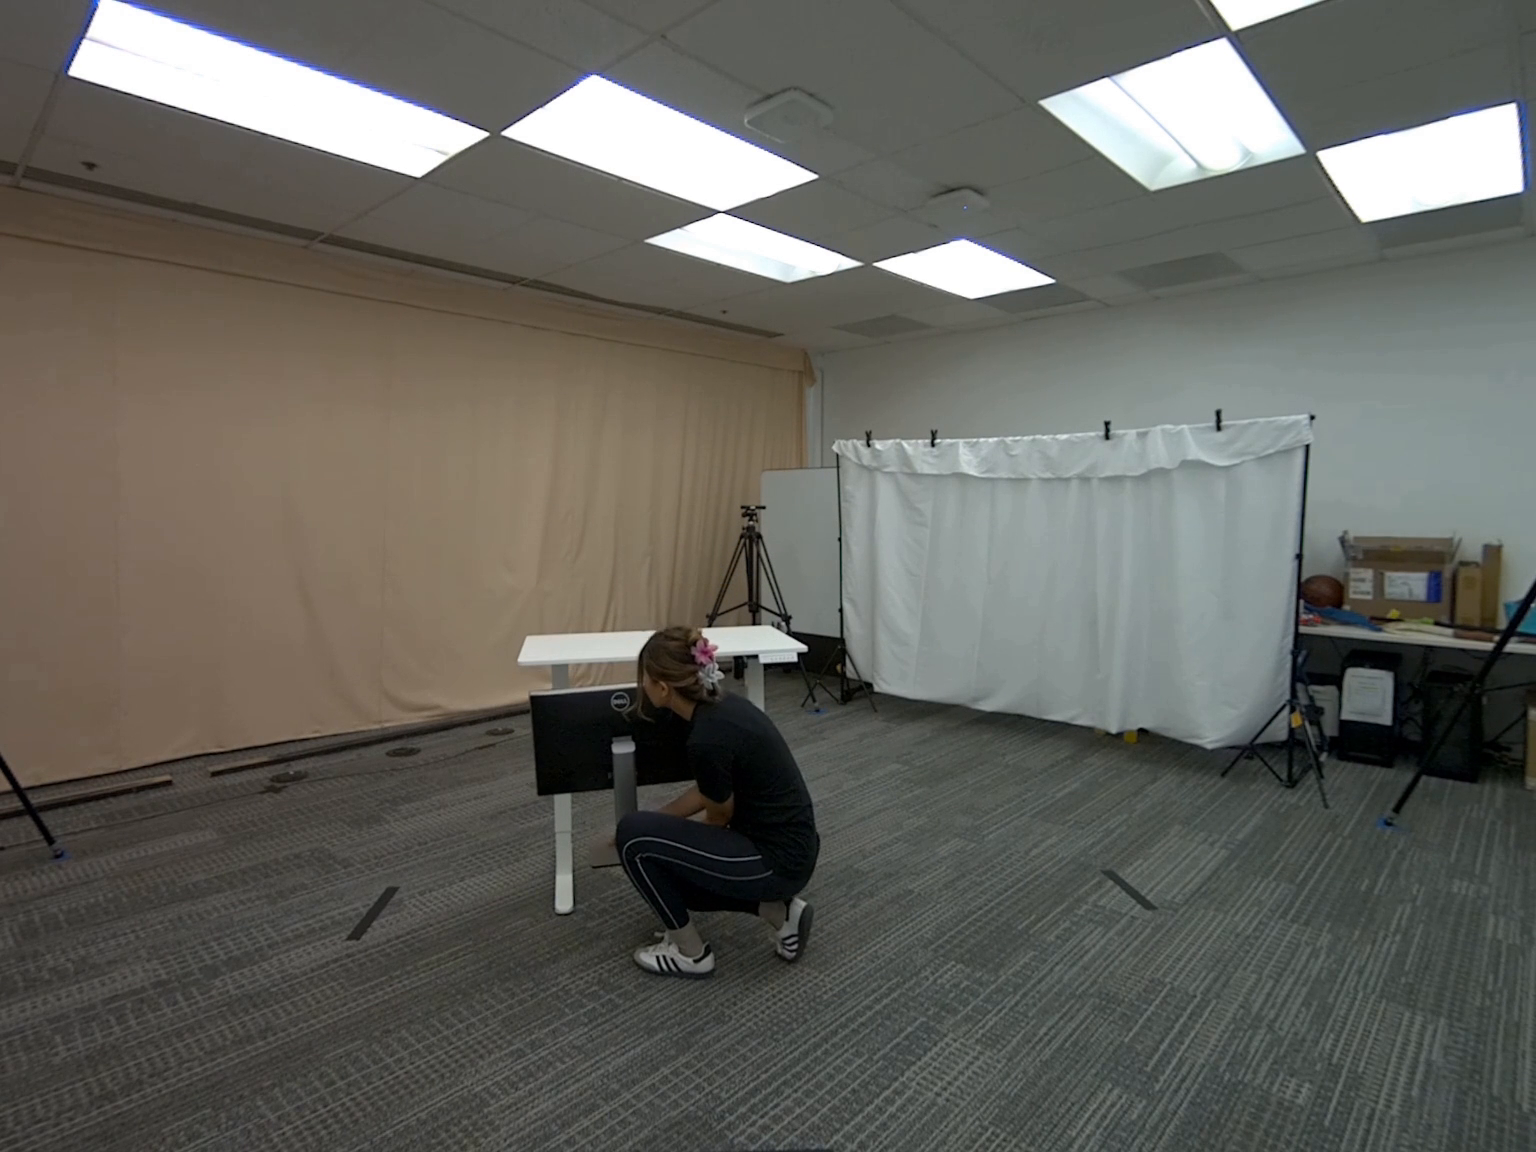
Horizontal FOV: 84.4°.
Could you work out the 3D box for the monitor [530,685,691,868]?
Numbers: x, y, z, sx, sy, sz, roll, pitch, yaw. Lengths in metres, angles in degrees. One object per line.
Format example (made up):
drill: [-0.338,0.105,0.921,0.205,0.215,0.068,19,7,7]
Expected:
monitor: [-0.469,0.618,2.680,0.533,0.520,0.190,-4,6,-10]
